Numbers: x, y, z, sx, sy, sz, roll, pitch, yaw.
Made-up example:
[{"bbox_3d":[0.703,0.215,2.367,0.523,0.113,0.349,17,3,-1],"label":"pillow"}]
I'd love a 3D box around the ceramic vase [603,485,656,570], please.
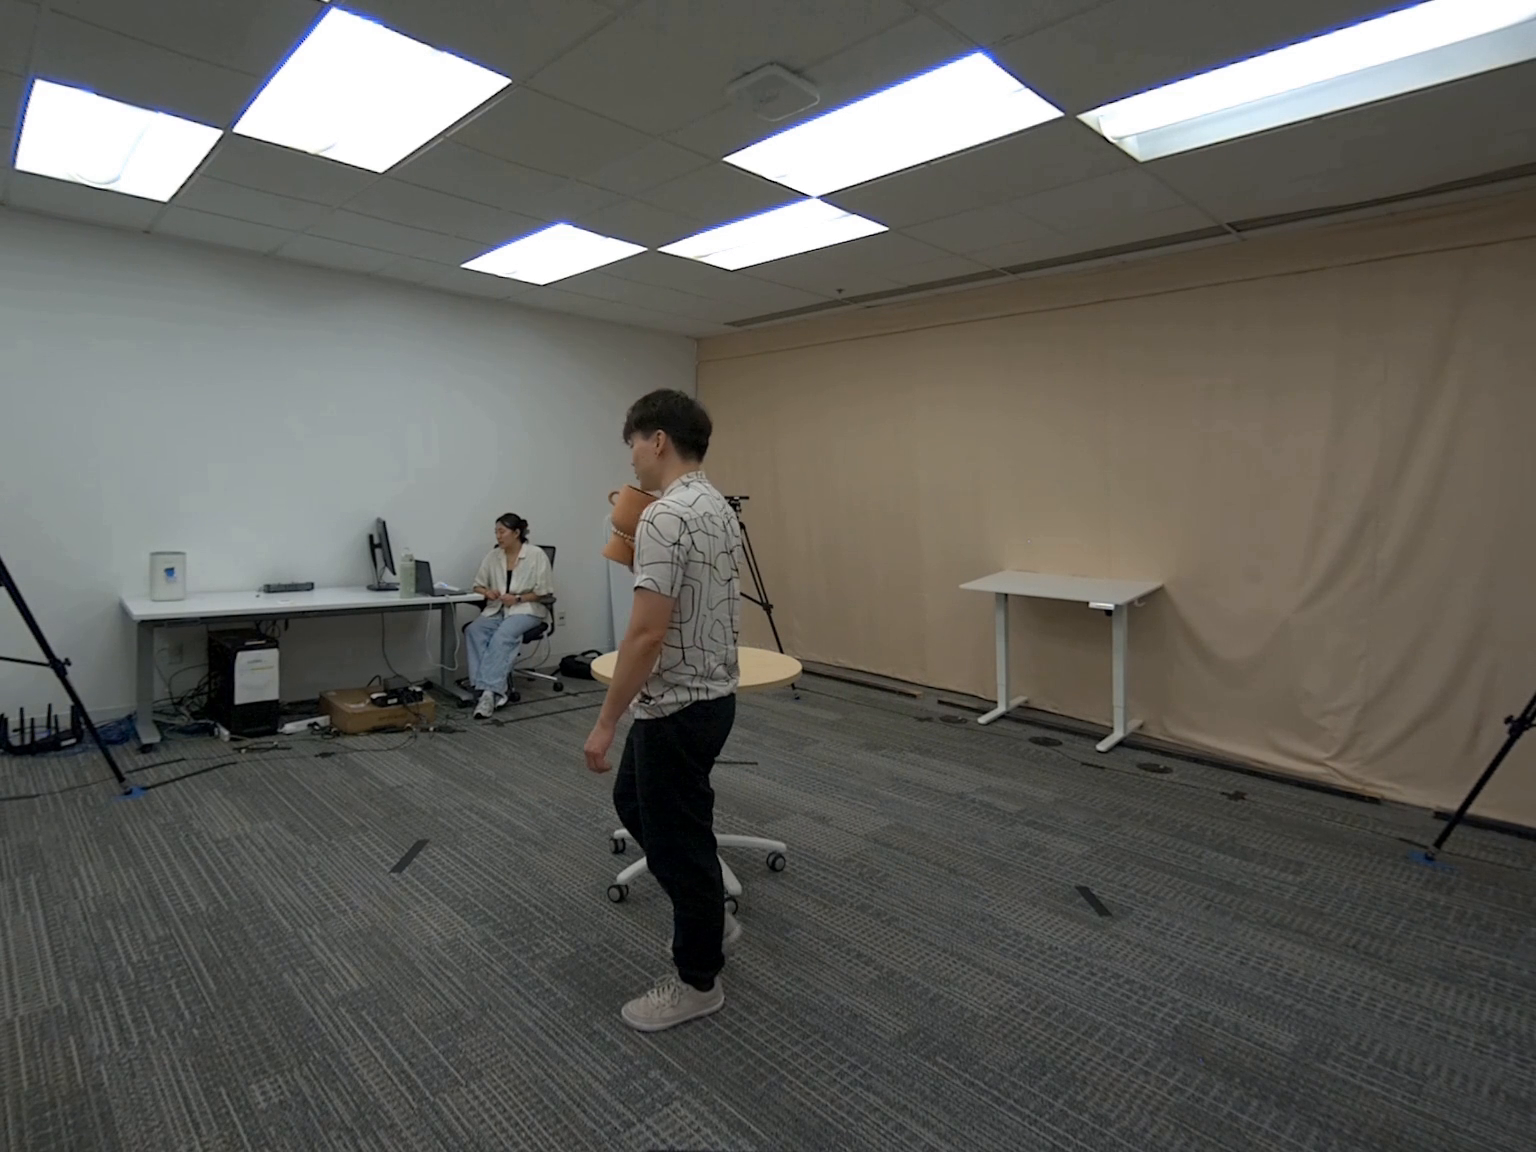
[{"bbox_3d":[-0.421,-0.149,2.523,0.131,0.219,0.164,18,7,-42],"label":"ceramic vase"}]
